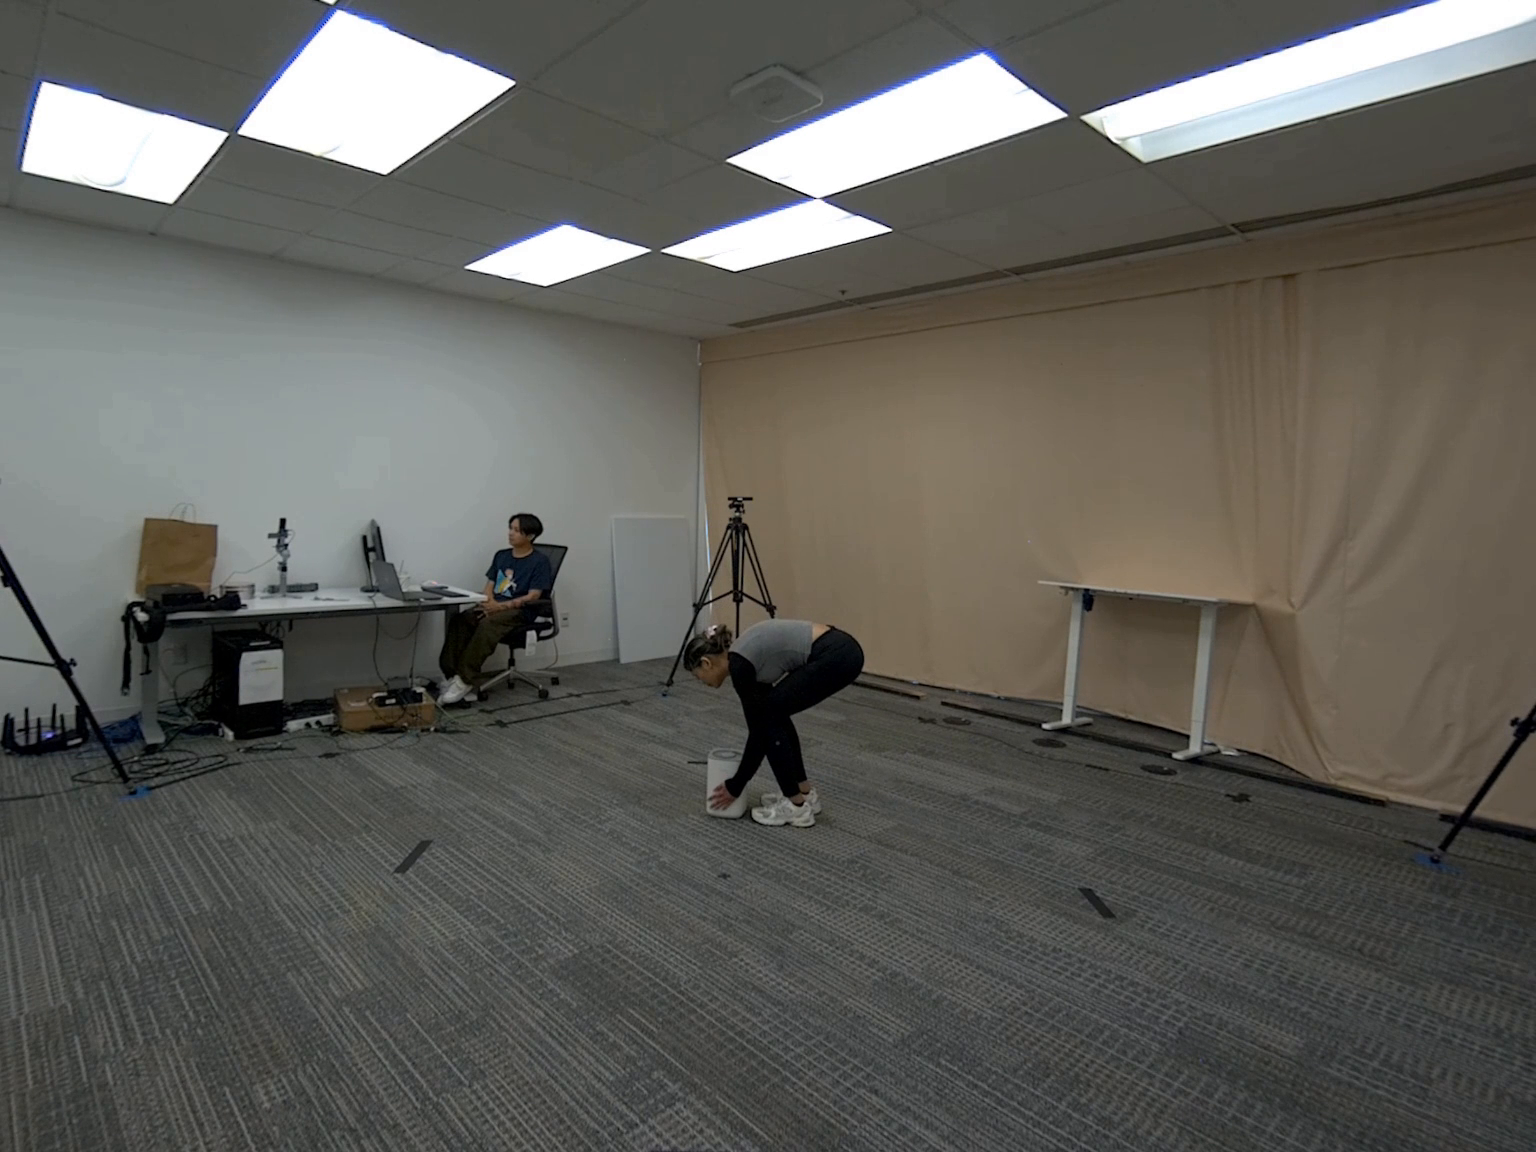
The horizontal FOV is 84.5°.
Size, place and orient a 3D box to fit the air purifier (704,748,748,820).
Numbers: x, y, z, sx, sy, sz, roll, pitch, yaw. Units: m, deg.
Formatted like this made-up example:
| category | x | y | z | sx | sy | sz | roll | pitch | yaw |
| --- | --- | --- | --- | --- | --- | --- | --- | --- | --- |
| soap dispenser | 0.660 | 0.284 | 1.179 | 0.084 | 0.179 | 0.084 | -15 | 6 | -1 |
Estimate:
| category | x | y | z | sx | sy | sz | roll | pitch | yaw |
| --- | --- | --- | --- | --- | --- | --- | --- | --- | --- |
| air purifier | -0.183 | 0.915 | 3.730 | 0.172 | 0.265 | 0.171 | 1 | 3 | 9 |
